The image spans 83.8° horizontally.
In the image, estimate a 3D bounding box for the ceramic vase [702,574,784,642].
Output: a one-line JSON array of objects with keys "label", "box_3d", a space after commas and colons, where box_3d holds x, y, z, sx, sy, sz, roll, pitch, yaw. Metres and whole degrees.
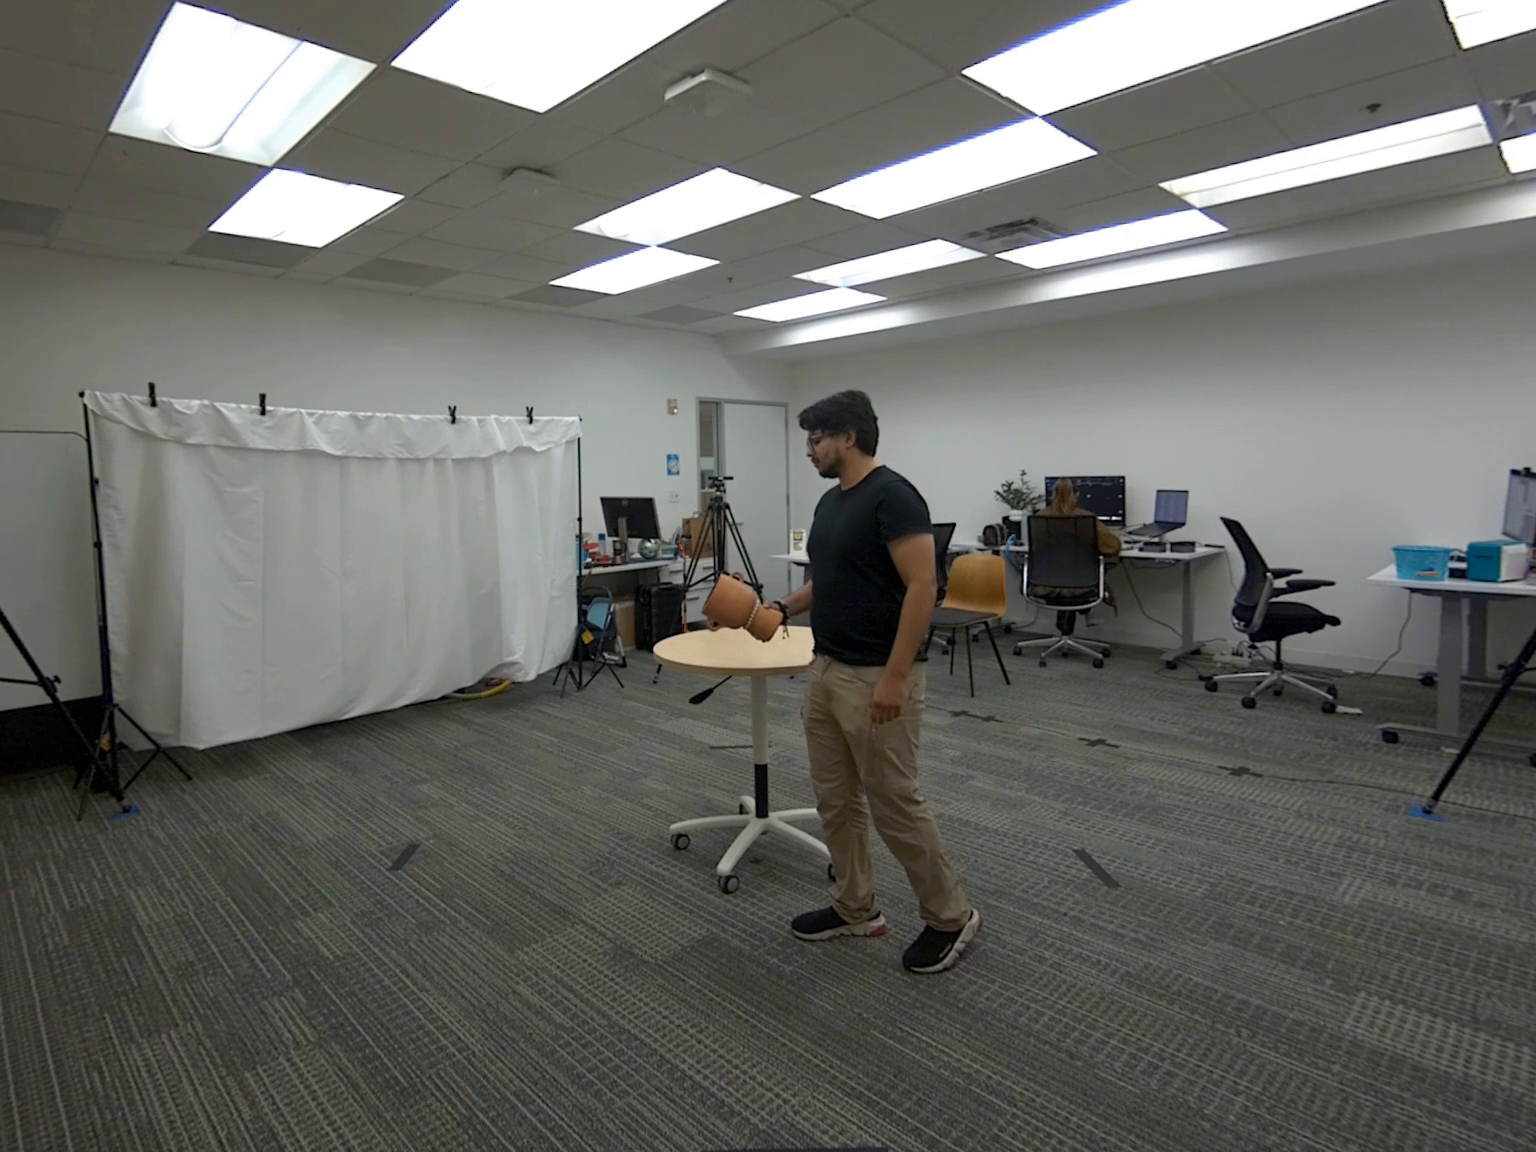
[{"label": "ceramic vase", "box_3d": [-0.067, 0.101, 2.546, 0.217, 0.158, 0.137, 29, 19, -10]}]
